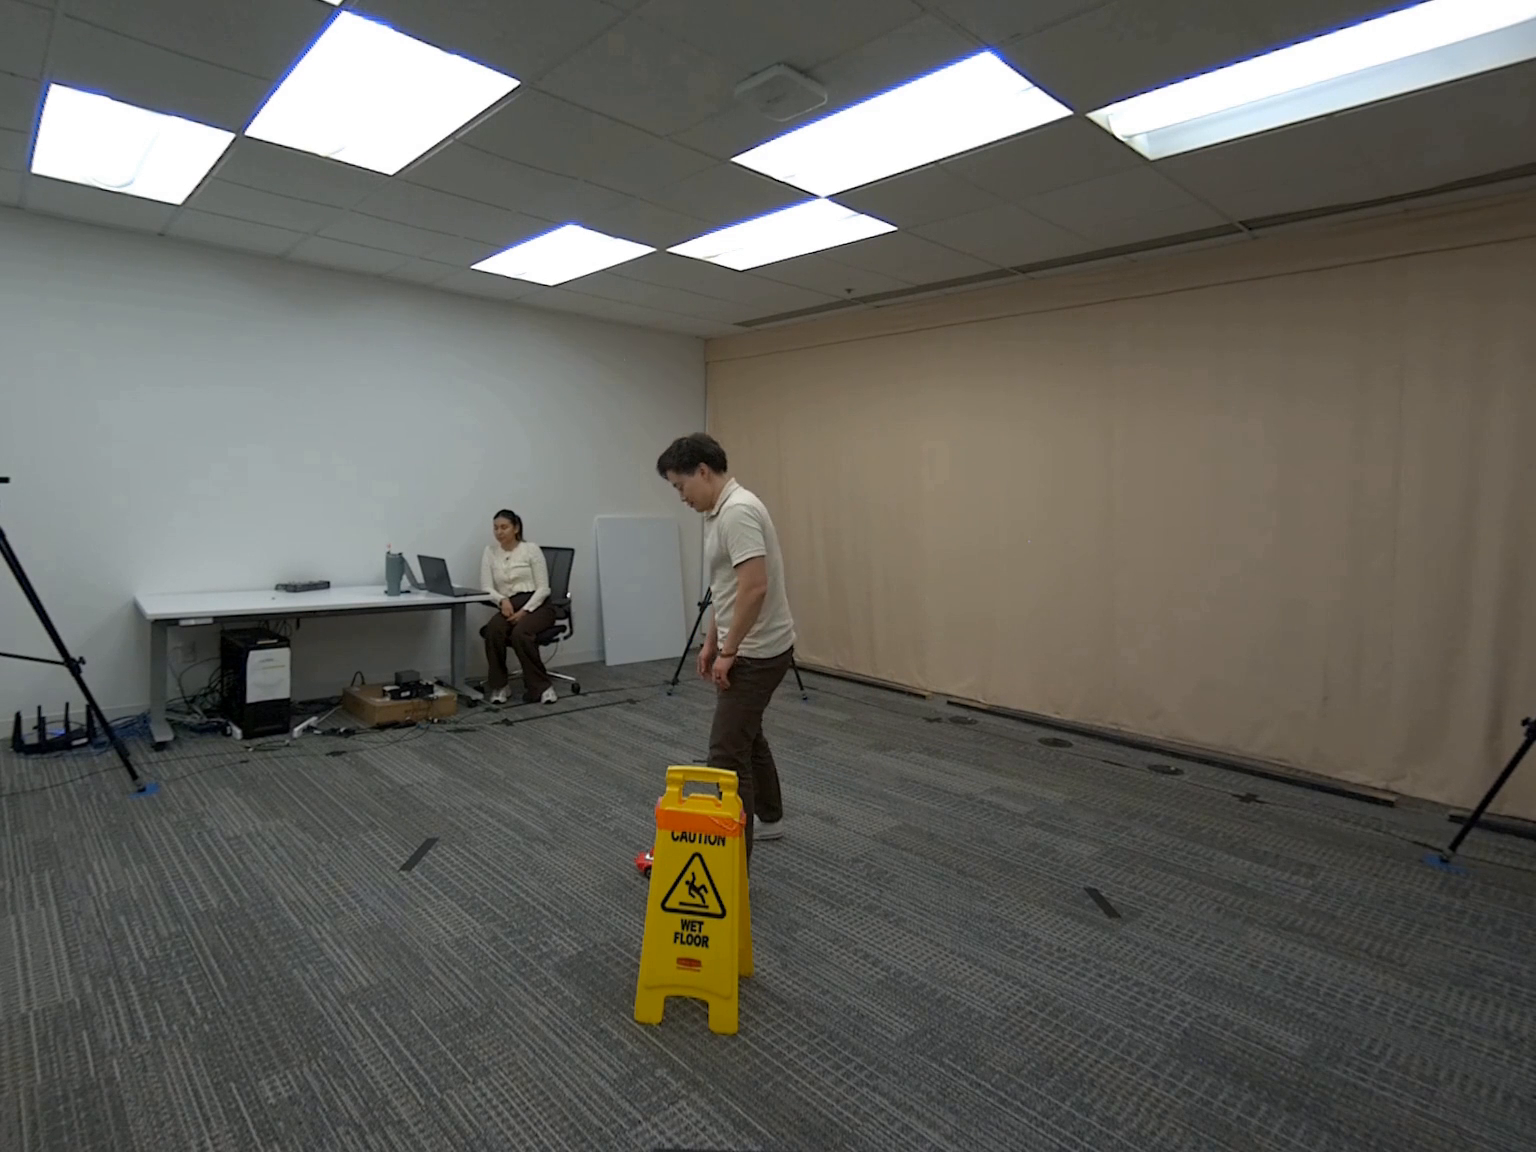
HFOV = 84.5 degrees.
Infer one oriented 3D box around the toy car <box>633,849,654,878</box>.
[{"bbox_3d":[-0.379,1.070,3.096,0.258,0.083,0.129,14,7,13],"label":"toy car"}]
